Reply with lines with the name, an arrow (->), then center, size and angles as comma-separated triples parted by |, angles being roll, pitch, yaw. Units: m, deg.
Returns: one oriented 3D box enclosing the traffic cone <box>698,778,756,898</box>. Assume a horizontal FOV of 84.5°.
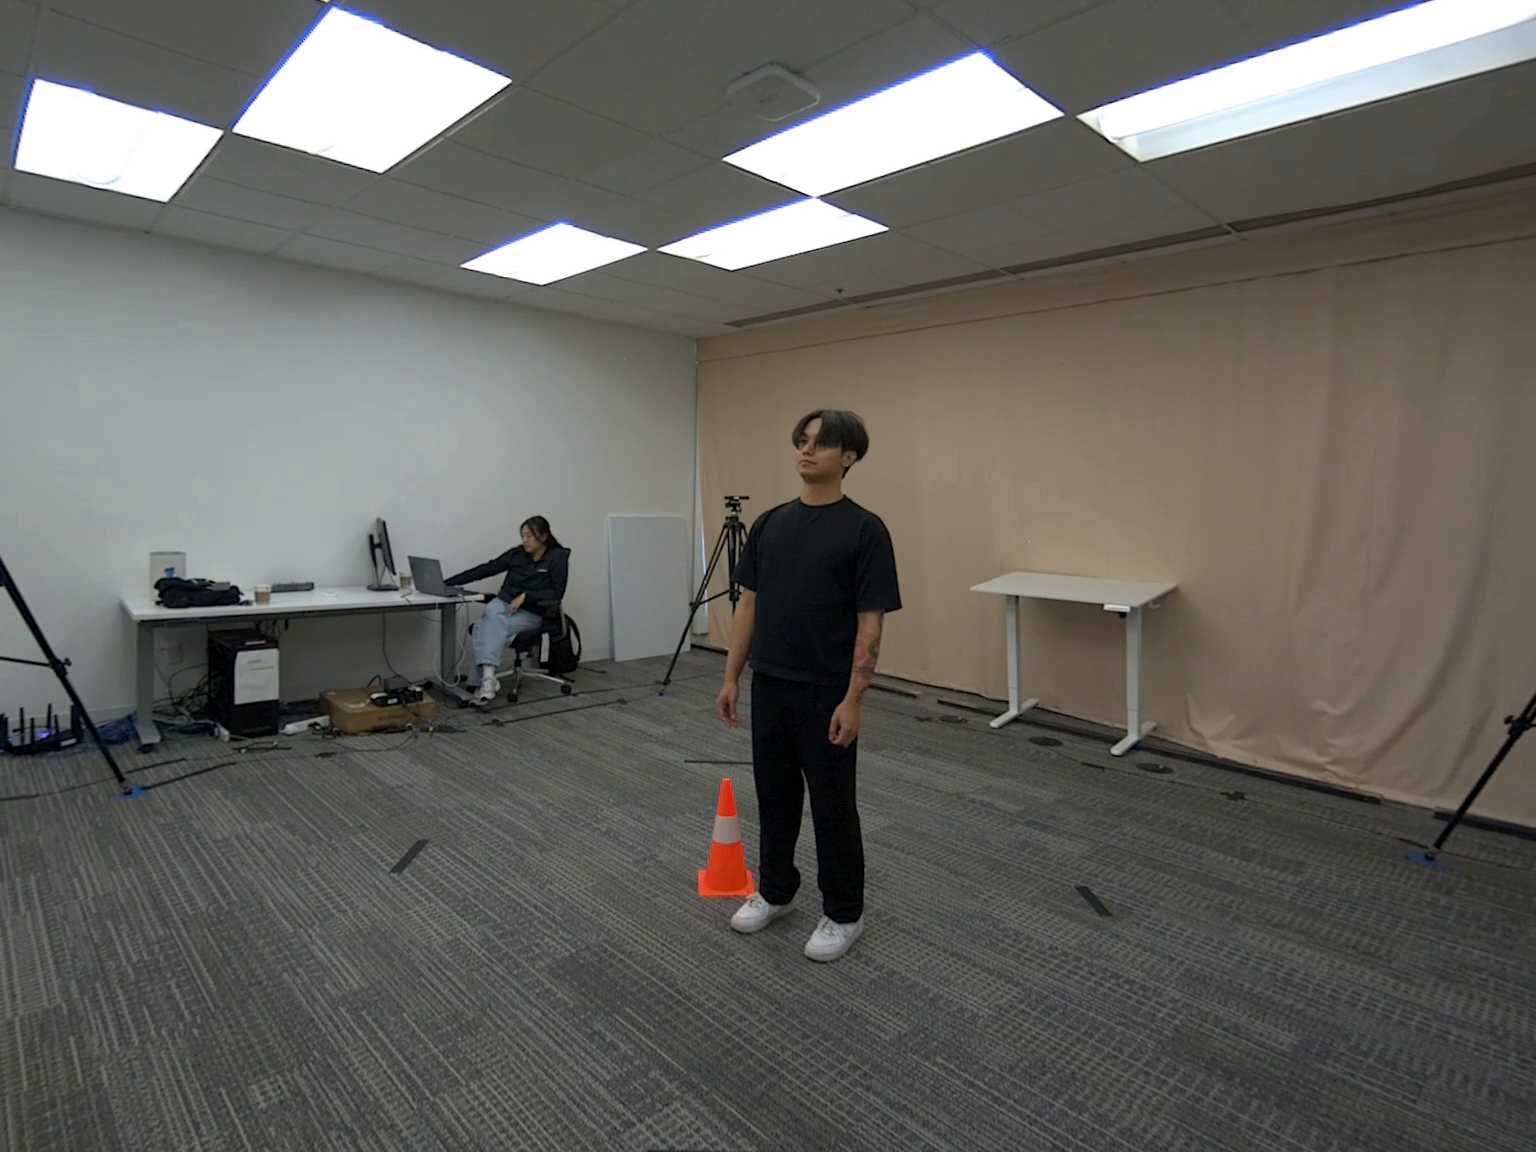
traffic cone -> -0.158, 0.927, 3.036 | 0.203, 0.383, 0.206 | 1, 3, -2
